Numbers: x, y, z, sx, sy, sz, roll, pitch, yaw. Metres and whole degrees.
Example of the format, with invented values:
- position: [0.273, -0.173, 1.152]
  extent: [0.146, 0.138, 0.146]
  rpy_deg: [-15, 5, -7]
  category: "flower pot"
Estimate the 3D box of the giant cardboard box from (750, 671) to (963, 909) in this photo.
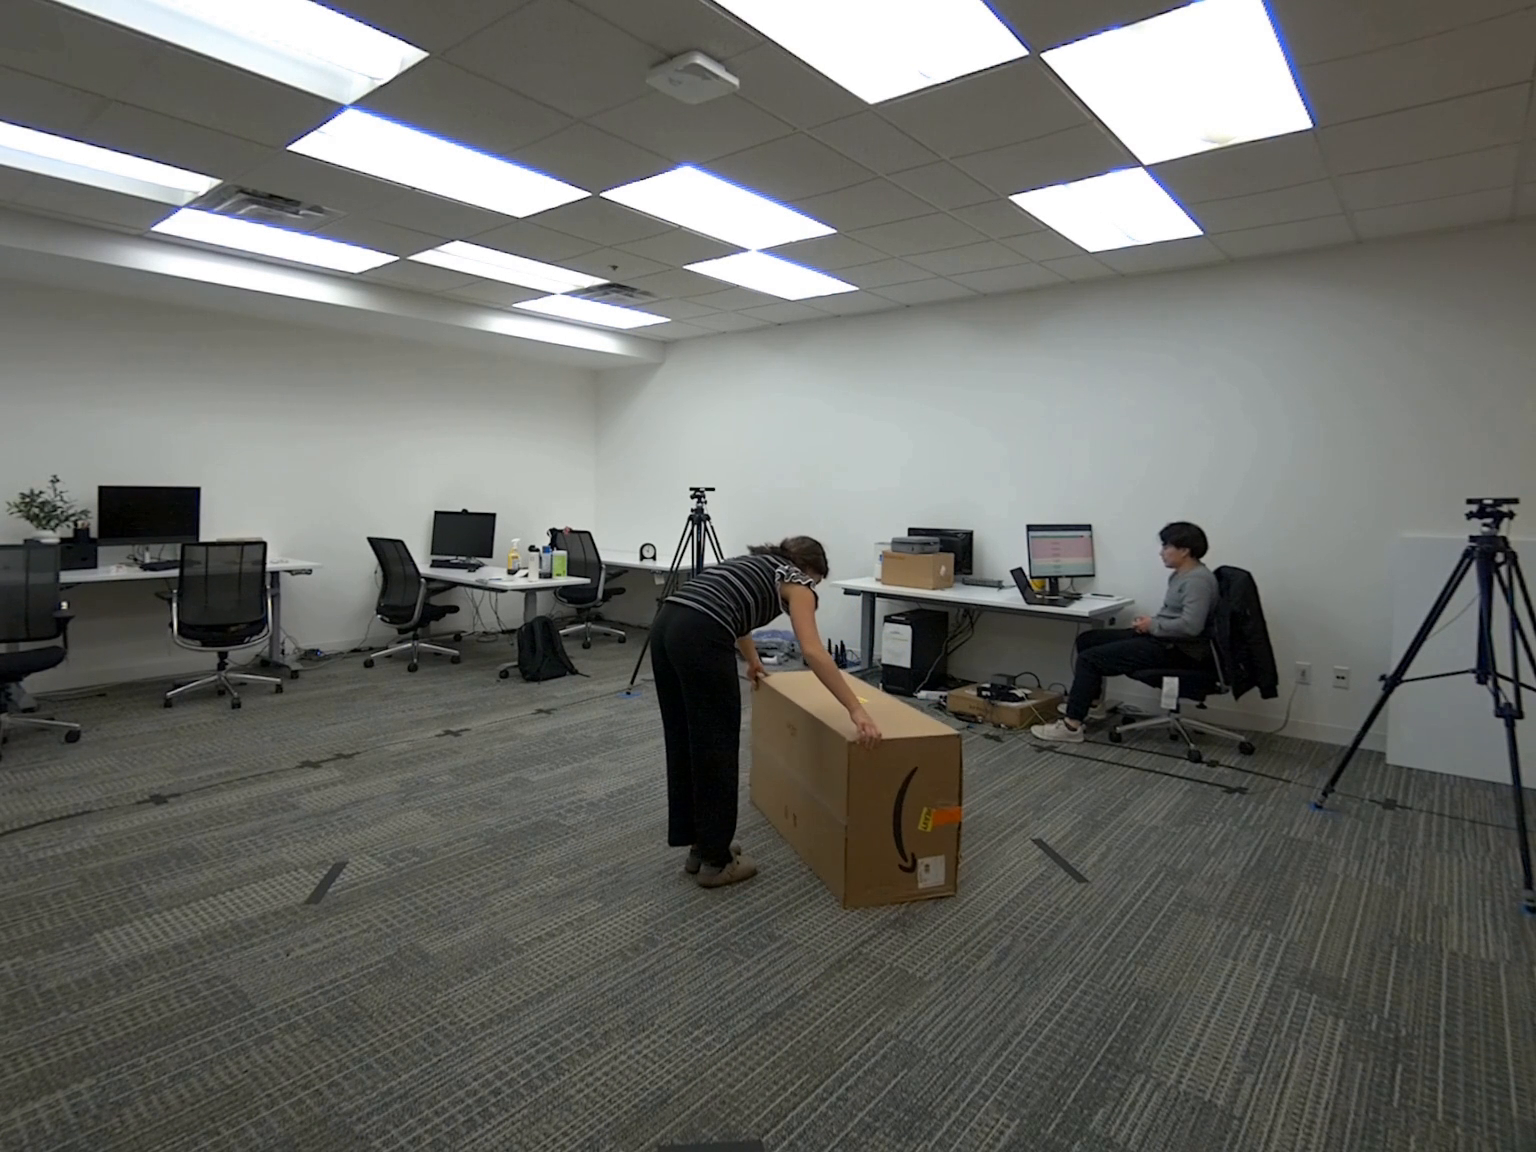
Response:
- position: [0.287, 0.758, 3.361]
  extent: [0.418, 0.575, 1.049]
  rpy_deg: [0, 6, -19]
  category: "giant cardboard box"
